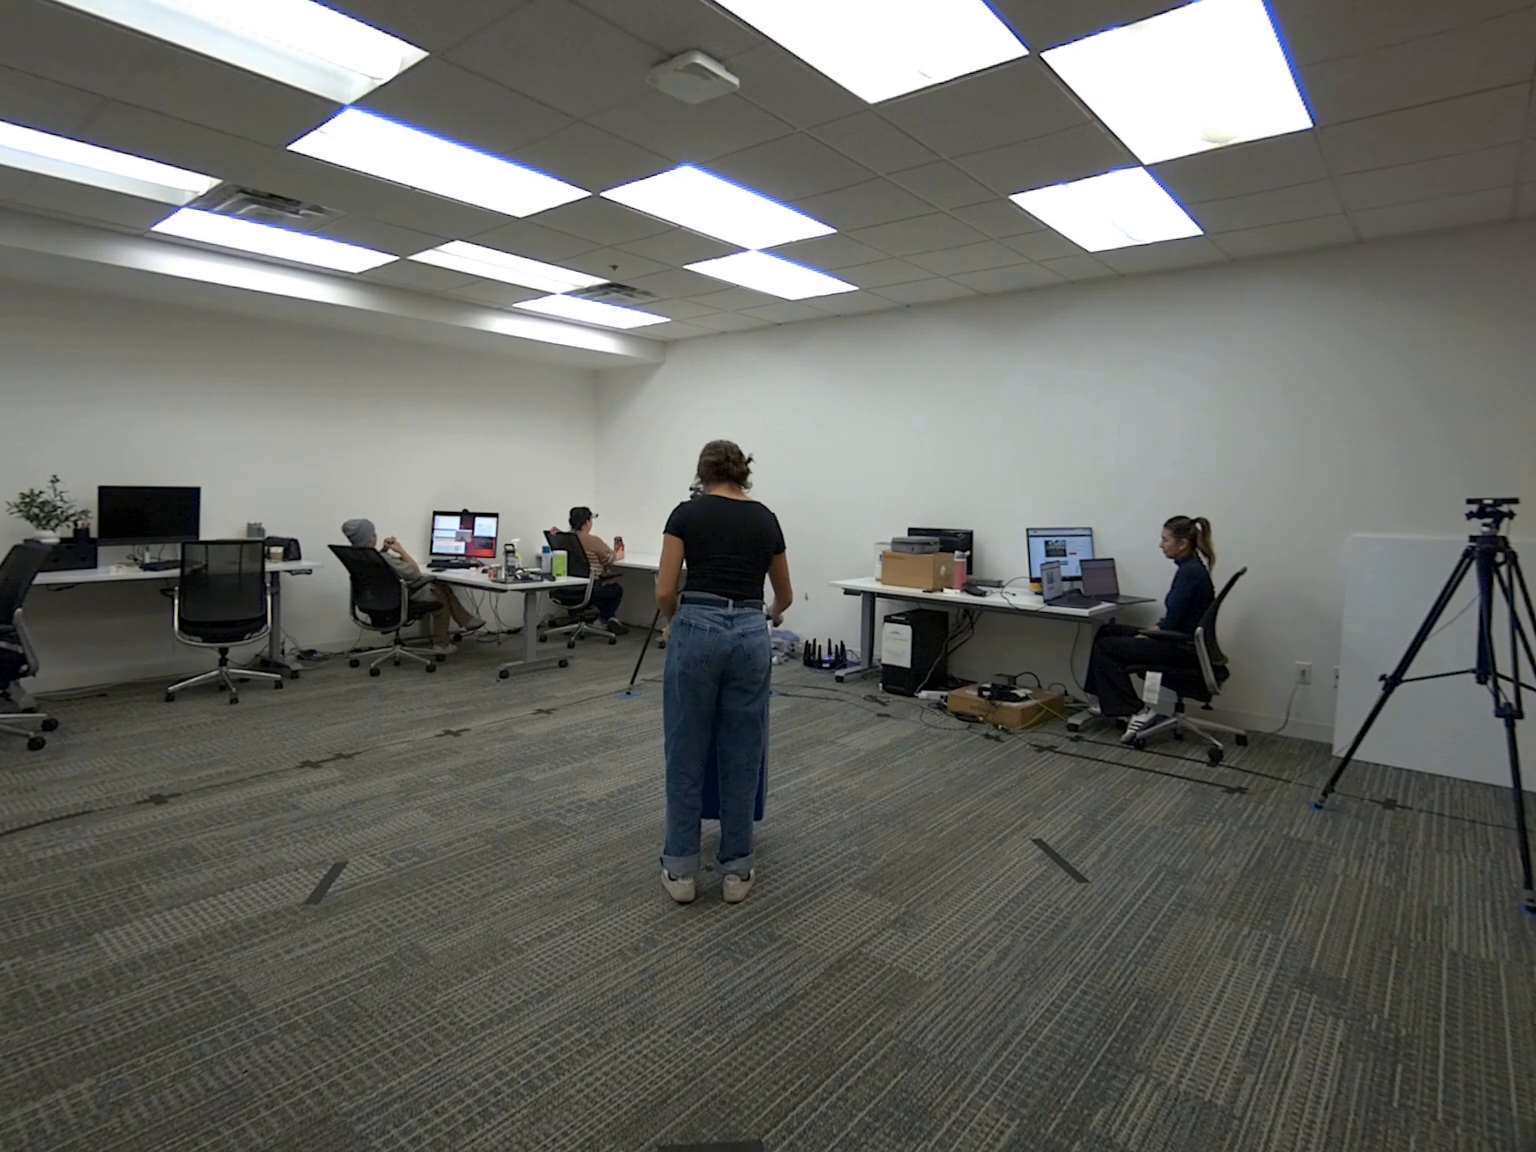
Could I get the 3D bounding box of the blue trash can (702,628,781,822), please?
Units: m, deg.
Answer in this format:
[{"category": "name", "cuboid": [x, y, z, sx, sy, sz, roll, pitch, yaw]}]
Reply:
[{"category": "blue trash can", "cuboid": [-0.183, 0.538, 3.286, 0.377, 0.709, 0.378, 1, 6, 5]}]
